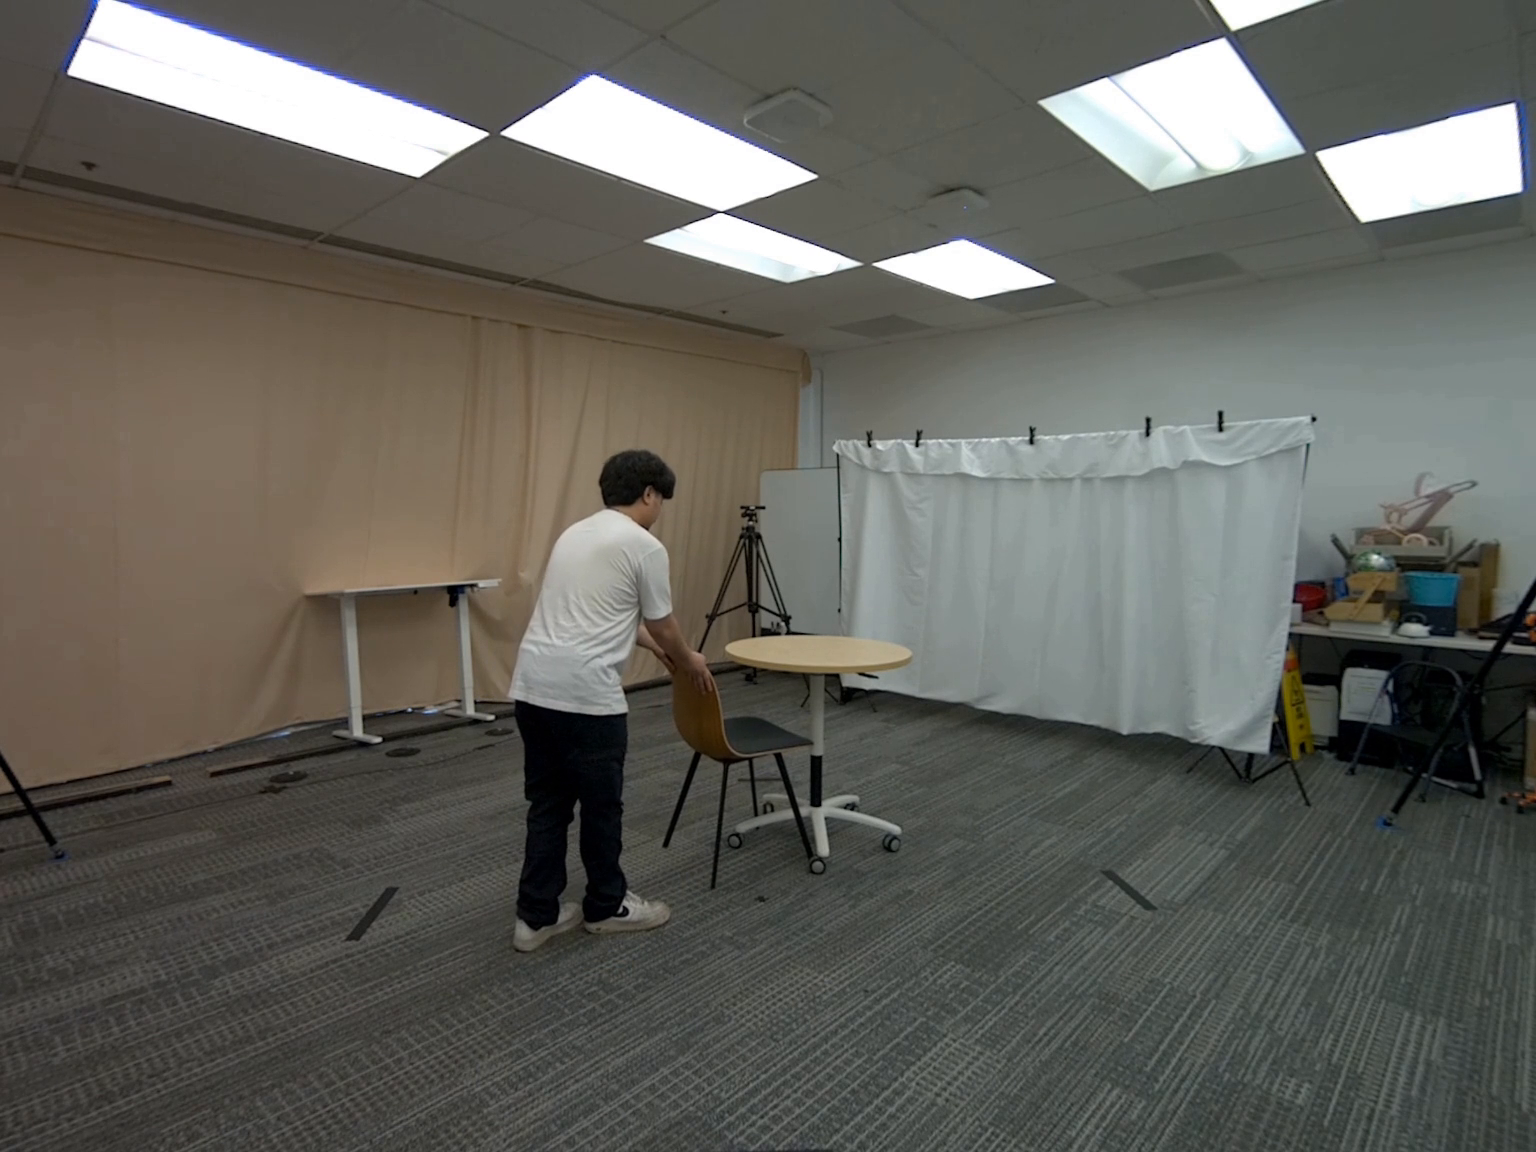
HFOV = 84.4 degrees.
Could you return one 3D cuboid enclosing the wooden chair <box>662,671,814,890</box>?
[{"bbox_3d":[-0.117,0.687,3.322,0.510,0.874,0.491,-7,5,-28],"label":"wooden chair"}]
